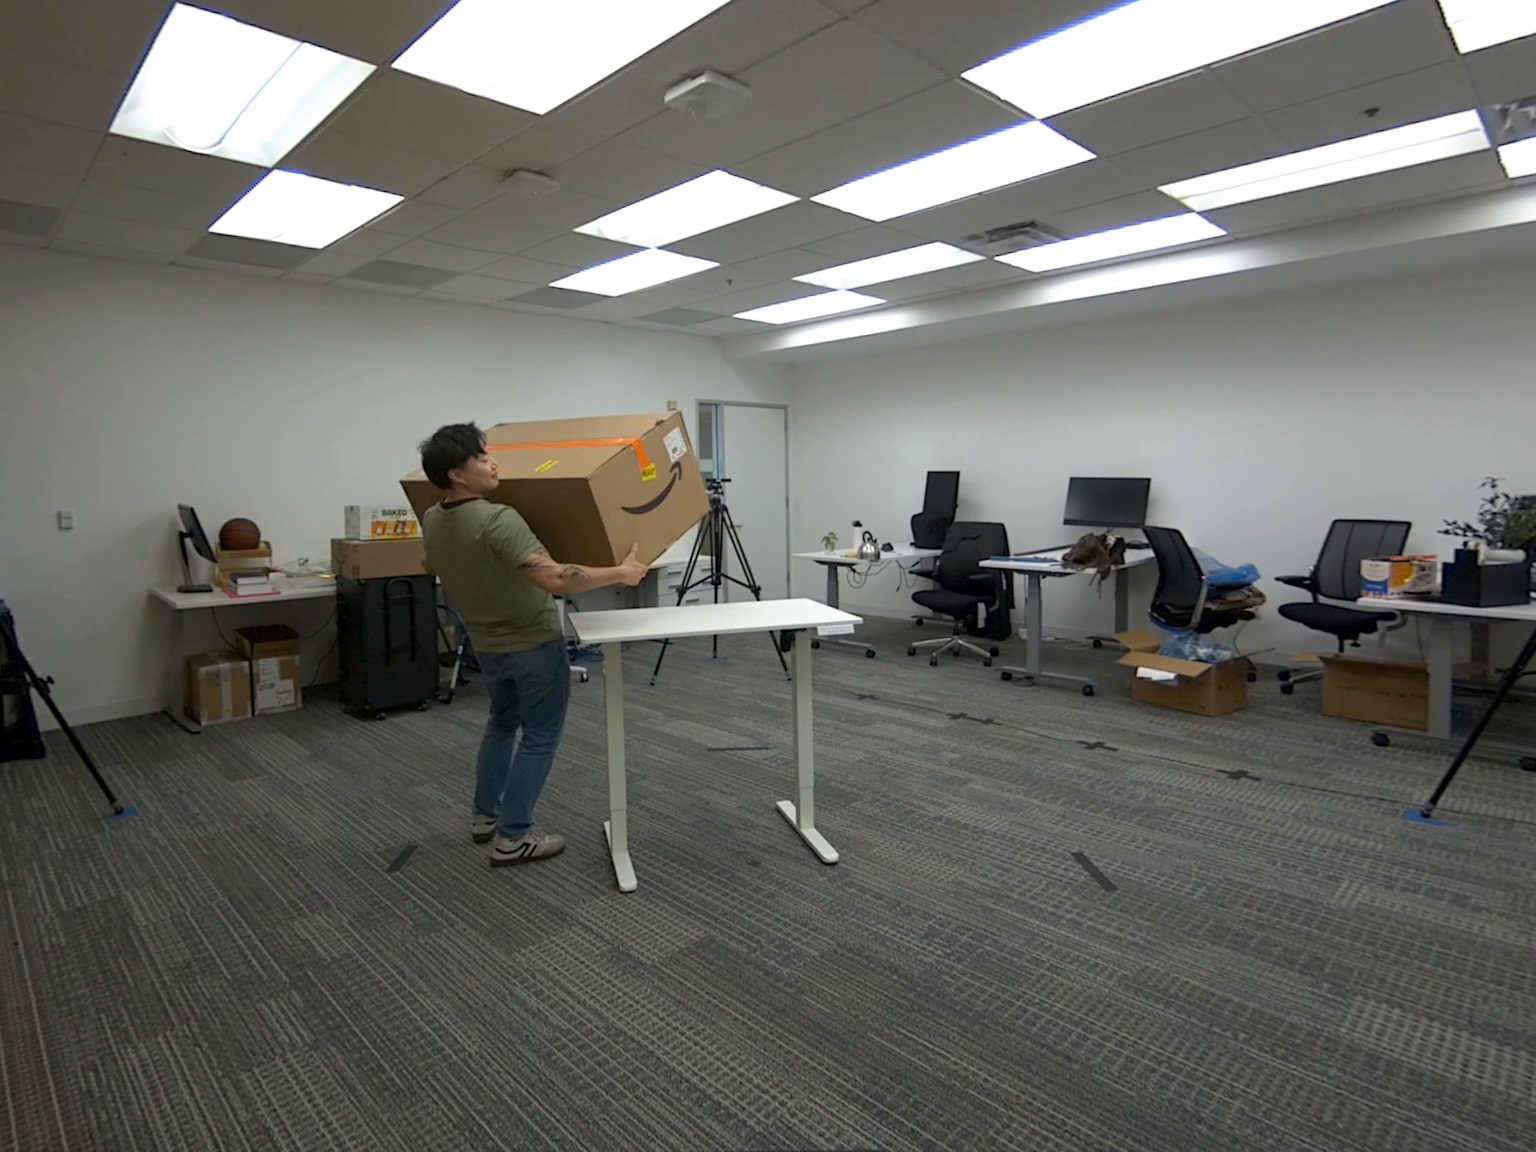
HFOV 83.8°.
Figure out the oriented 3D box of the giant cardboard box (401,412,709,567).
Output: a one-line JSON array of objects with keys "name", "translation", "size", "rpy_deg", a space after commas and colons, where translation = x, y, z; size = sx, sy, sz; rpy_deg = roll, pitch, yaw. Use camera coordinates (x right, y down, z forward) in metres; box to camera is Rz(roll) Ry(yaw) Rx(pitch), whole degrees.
[{"name": "giant cardboard box", "translation": [-0.841, -0.319, 3.362], "size": [1.055, 0.415, 0.577], "rpy_deg": [3, 33, 34]}]
